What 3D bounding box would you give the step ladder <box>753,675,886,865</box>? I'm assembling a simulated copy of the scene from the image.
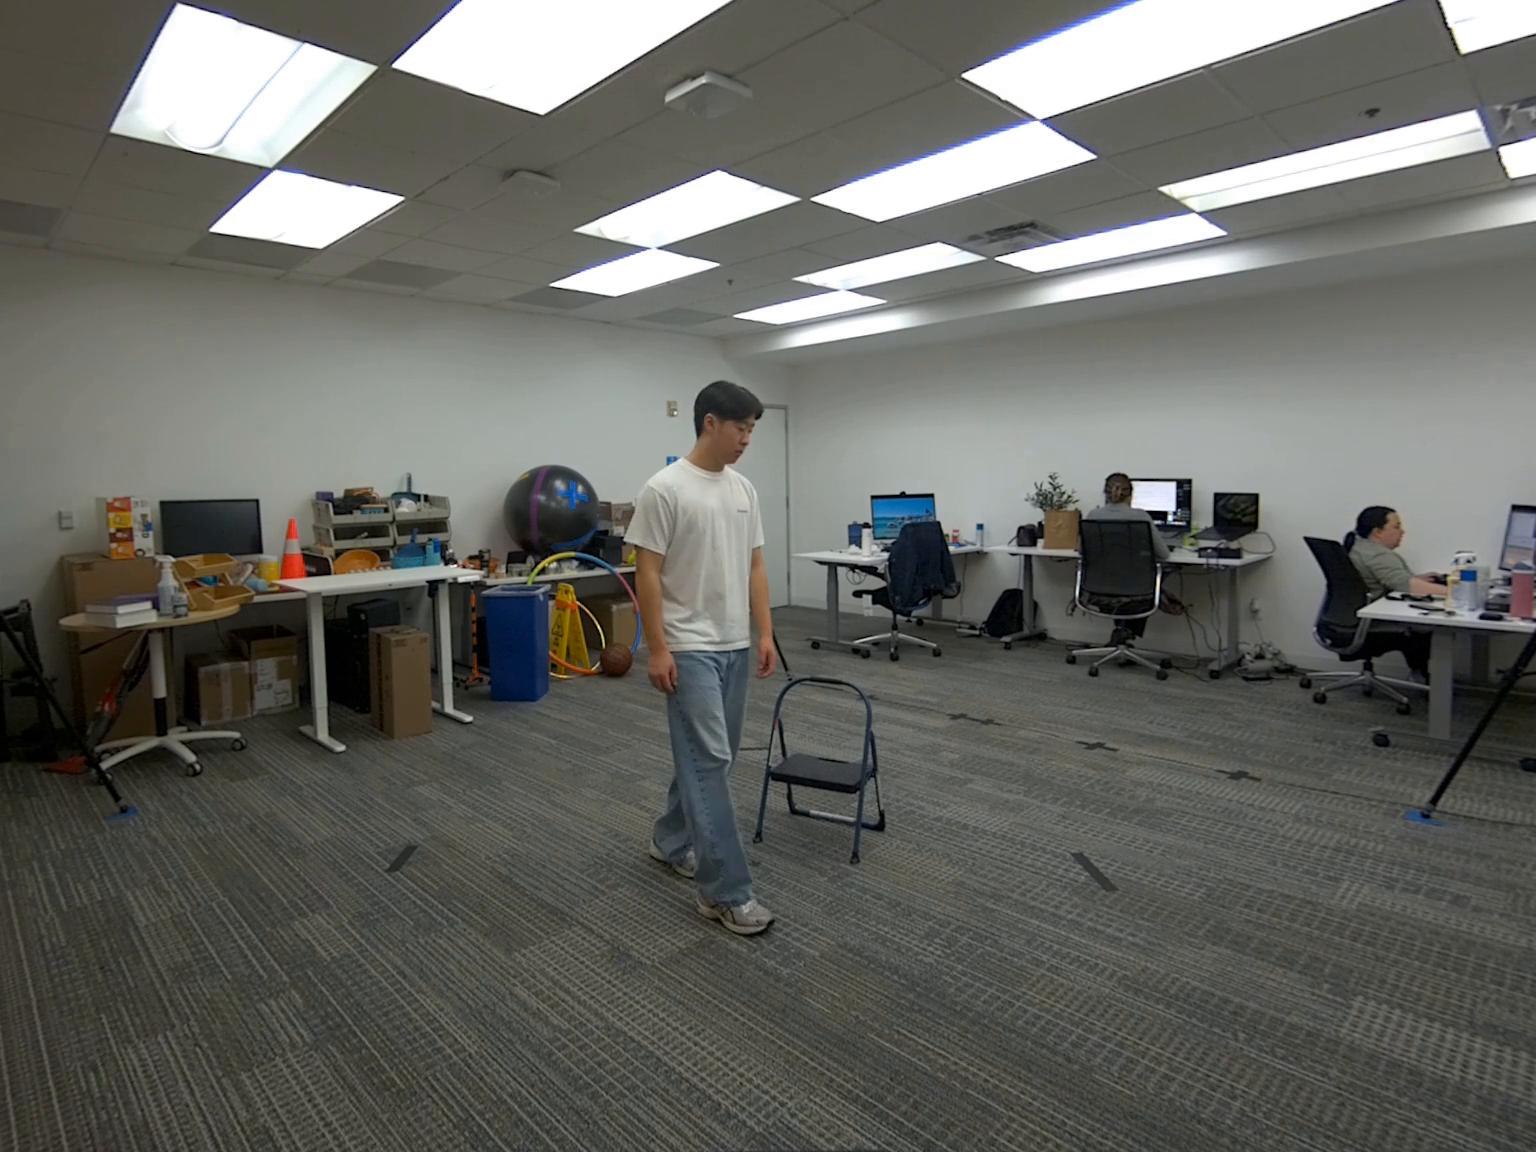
[{"bbox_3d":[0.207,0.712,3.319,0.441,0.604,0.342,2,5,28],"label":"step ladder"}]
